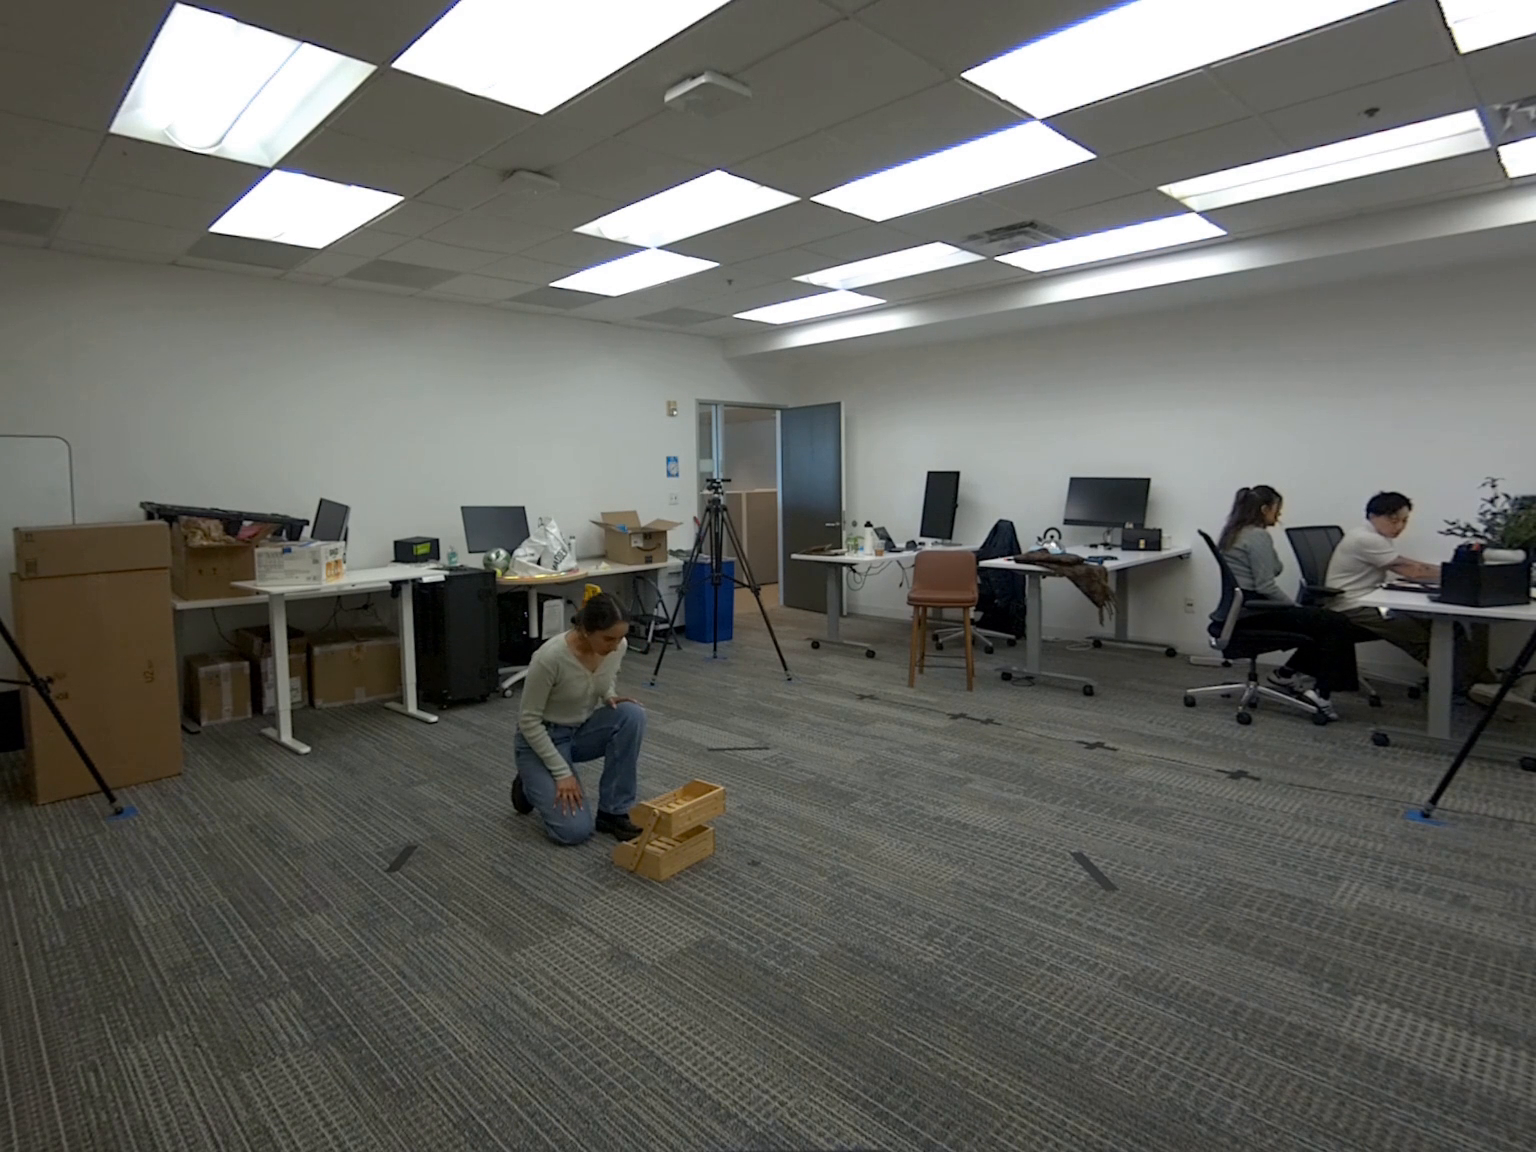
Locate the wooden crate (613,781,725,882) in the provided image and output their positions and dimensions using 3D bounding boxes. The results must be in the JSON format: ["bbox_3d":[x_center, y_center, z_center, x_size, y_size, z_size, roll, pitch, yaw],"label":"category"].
[{"bbox_3d":[-0.366,0.912,3.140,0.311,0.272,0.316,4,7,37],"label":"wooden crate"}]
